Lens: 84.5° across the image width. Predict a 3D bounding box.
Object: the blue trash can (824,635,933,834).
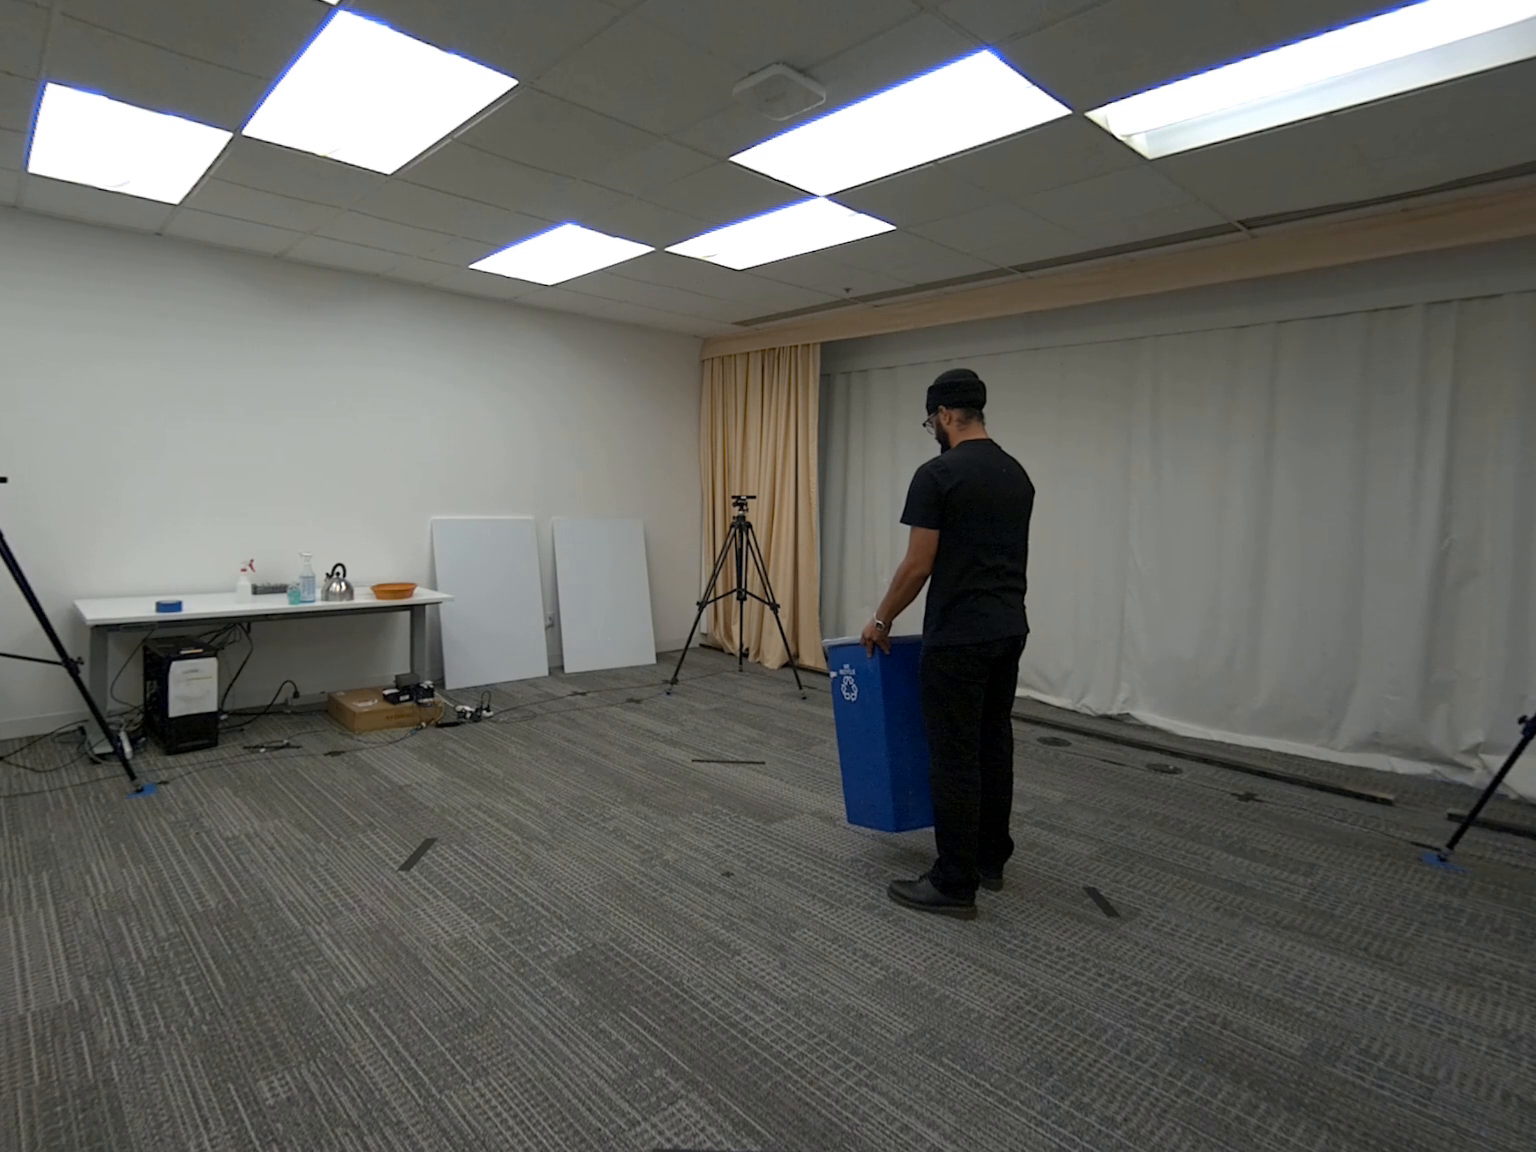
[{"bbox_3d":[0.480,0.596,3.285,0.370,0.718,0.379,0,-9,-29],"label":"blue trash can"}]
